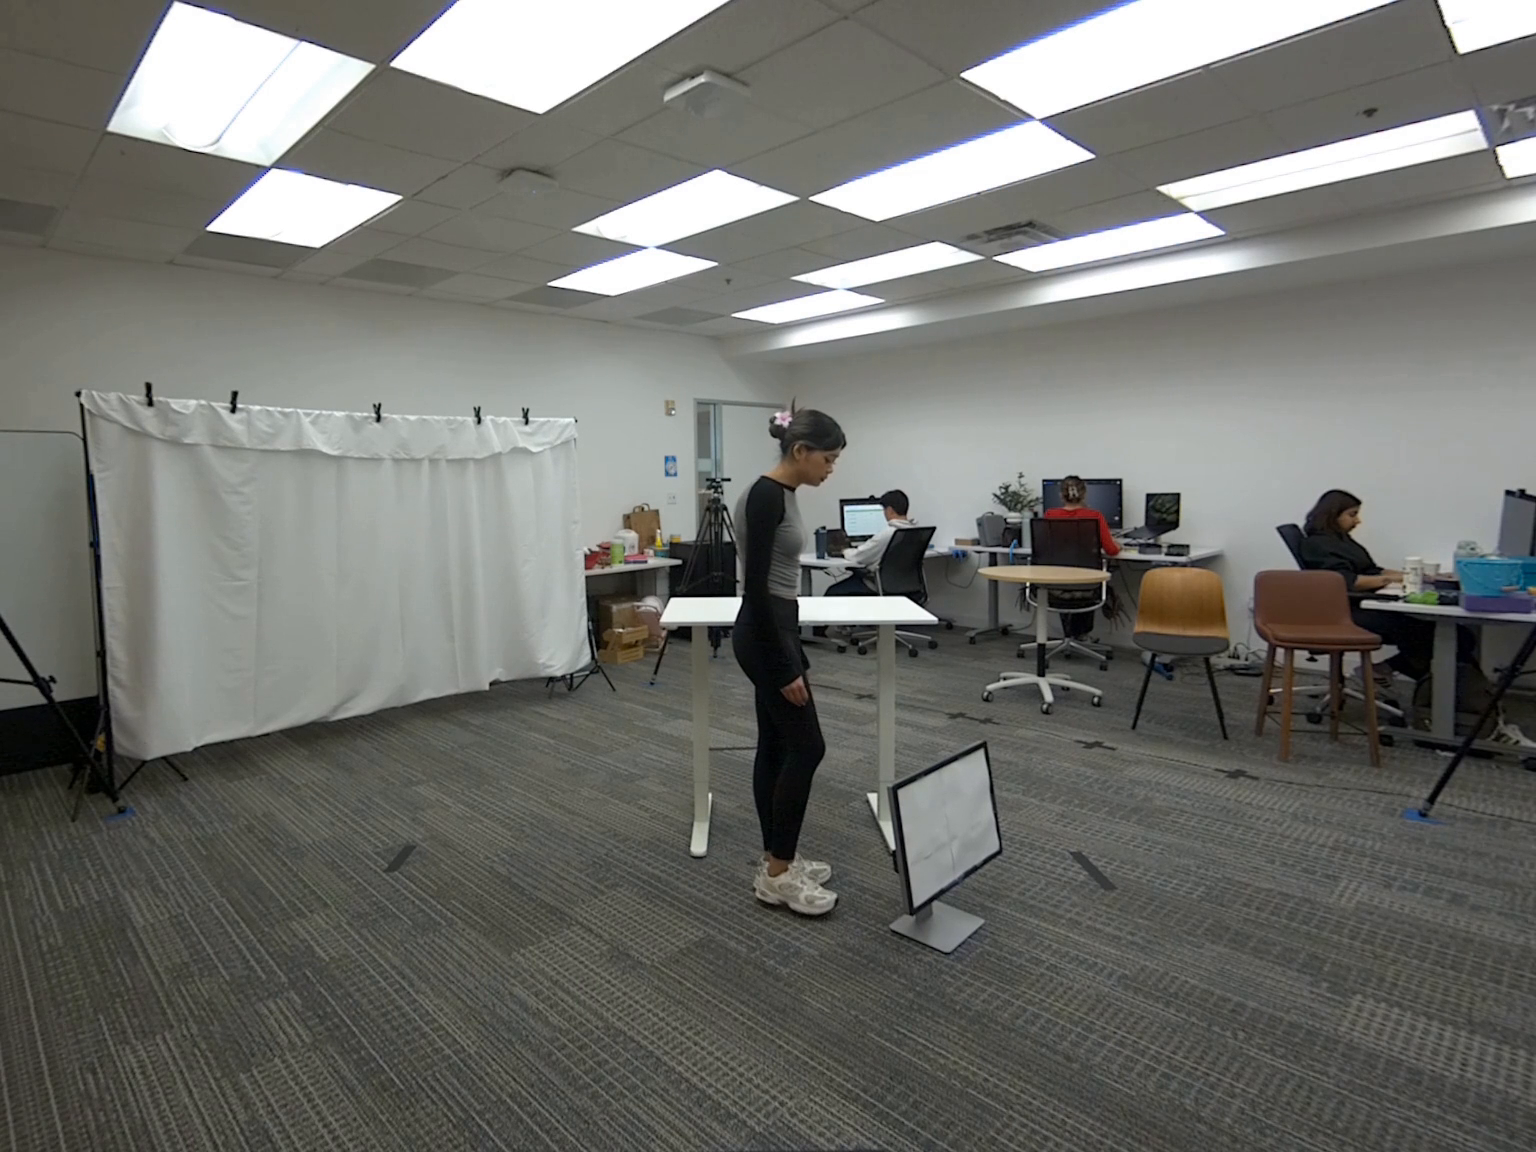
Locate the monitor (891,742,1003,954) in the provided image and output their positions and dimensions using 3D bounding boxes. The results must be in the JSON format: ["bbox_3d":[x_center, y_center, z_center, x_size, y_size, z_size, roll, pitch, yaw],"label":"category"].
[{"bbox_3d":[0.527,0.828,2.622,0.193,0.520,0.525,5,8,39],"label":"monitor"}]
